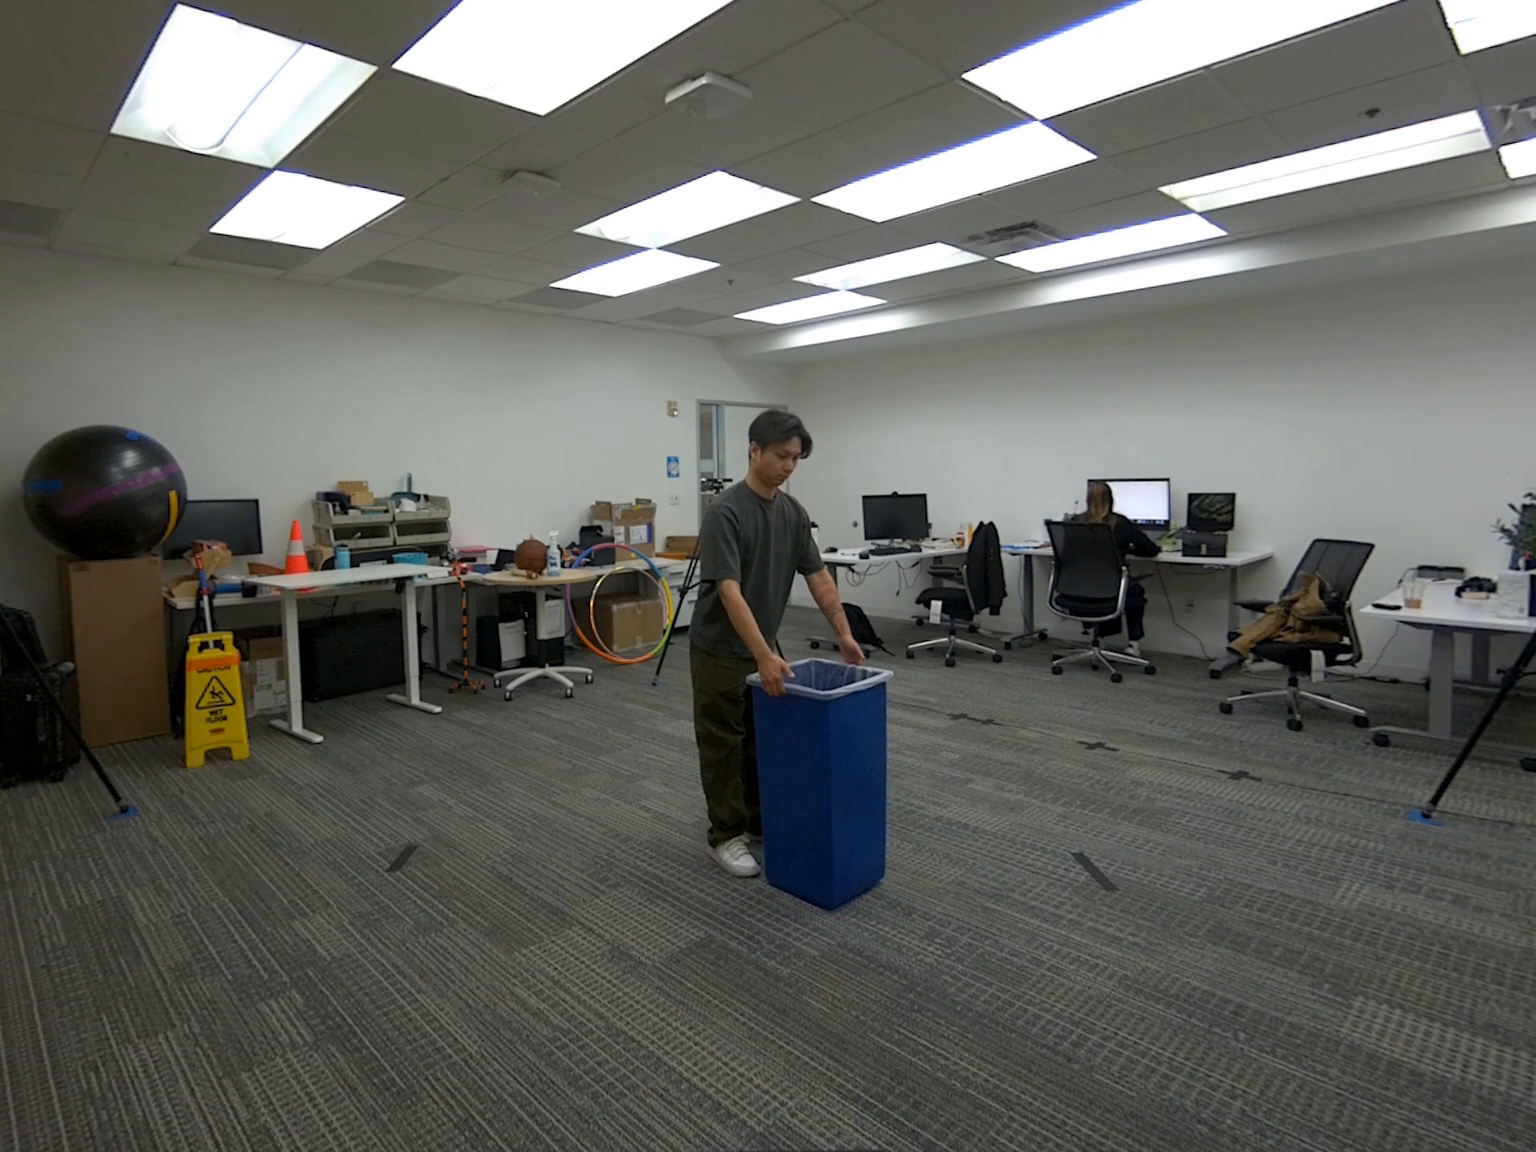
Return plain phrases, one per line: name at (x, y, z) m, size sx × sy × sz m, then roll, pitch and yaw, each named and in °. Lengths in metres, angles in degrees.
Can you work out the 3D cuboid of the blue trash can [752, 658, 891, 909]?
blue trash can at (0.195, 0.683, 2.915) m, size 0.385 × 0.711 × 0.368 m, roll 1°, pitch 6°, yaw 43°
